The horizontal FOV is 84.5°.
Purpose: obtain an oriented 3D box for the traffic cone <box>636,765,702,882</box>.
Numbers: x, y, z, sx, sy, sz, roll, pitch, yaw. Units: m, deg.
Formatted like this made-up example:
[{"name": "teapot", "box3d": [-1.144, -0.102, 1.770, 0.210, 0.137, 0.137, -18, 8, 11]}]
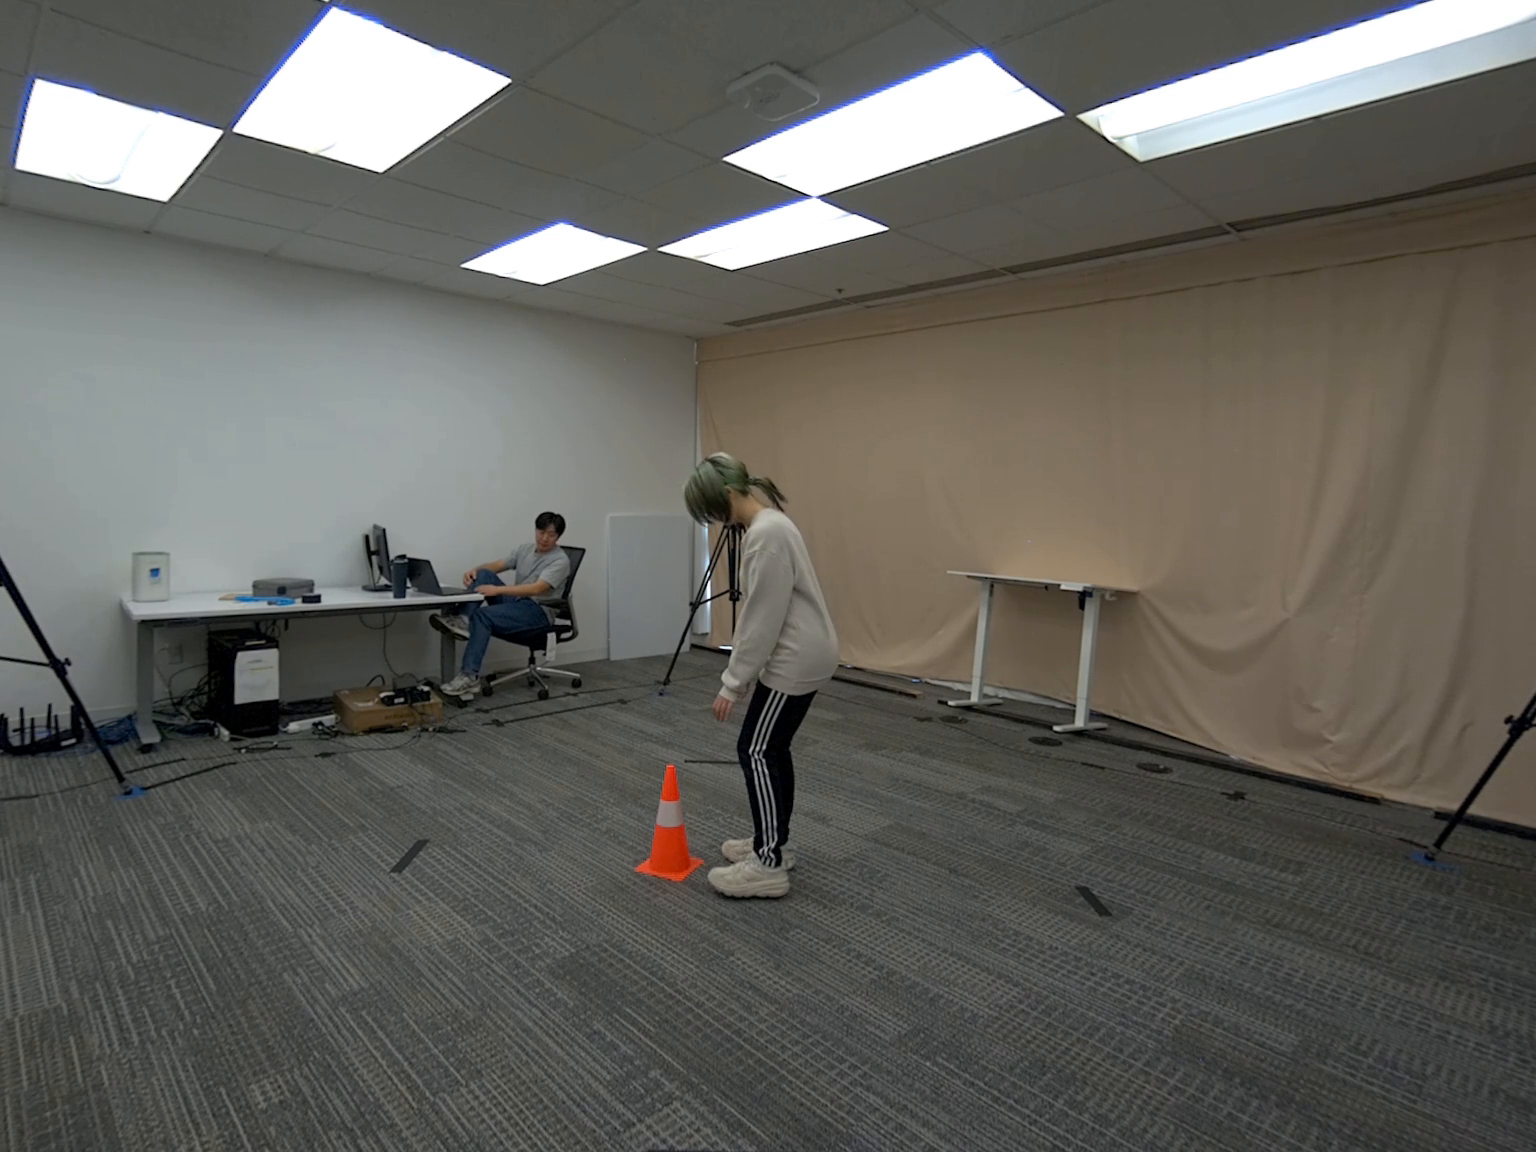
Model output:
[{"name": "traffic cone", "box3d": [-0.379, 0.910, 3.166, 0.207, 0.383, 0.201, 2, 3, 25]}]
